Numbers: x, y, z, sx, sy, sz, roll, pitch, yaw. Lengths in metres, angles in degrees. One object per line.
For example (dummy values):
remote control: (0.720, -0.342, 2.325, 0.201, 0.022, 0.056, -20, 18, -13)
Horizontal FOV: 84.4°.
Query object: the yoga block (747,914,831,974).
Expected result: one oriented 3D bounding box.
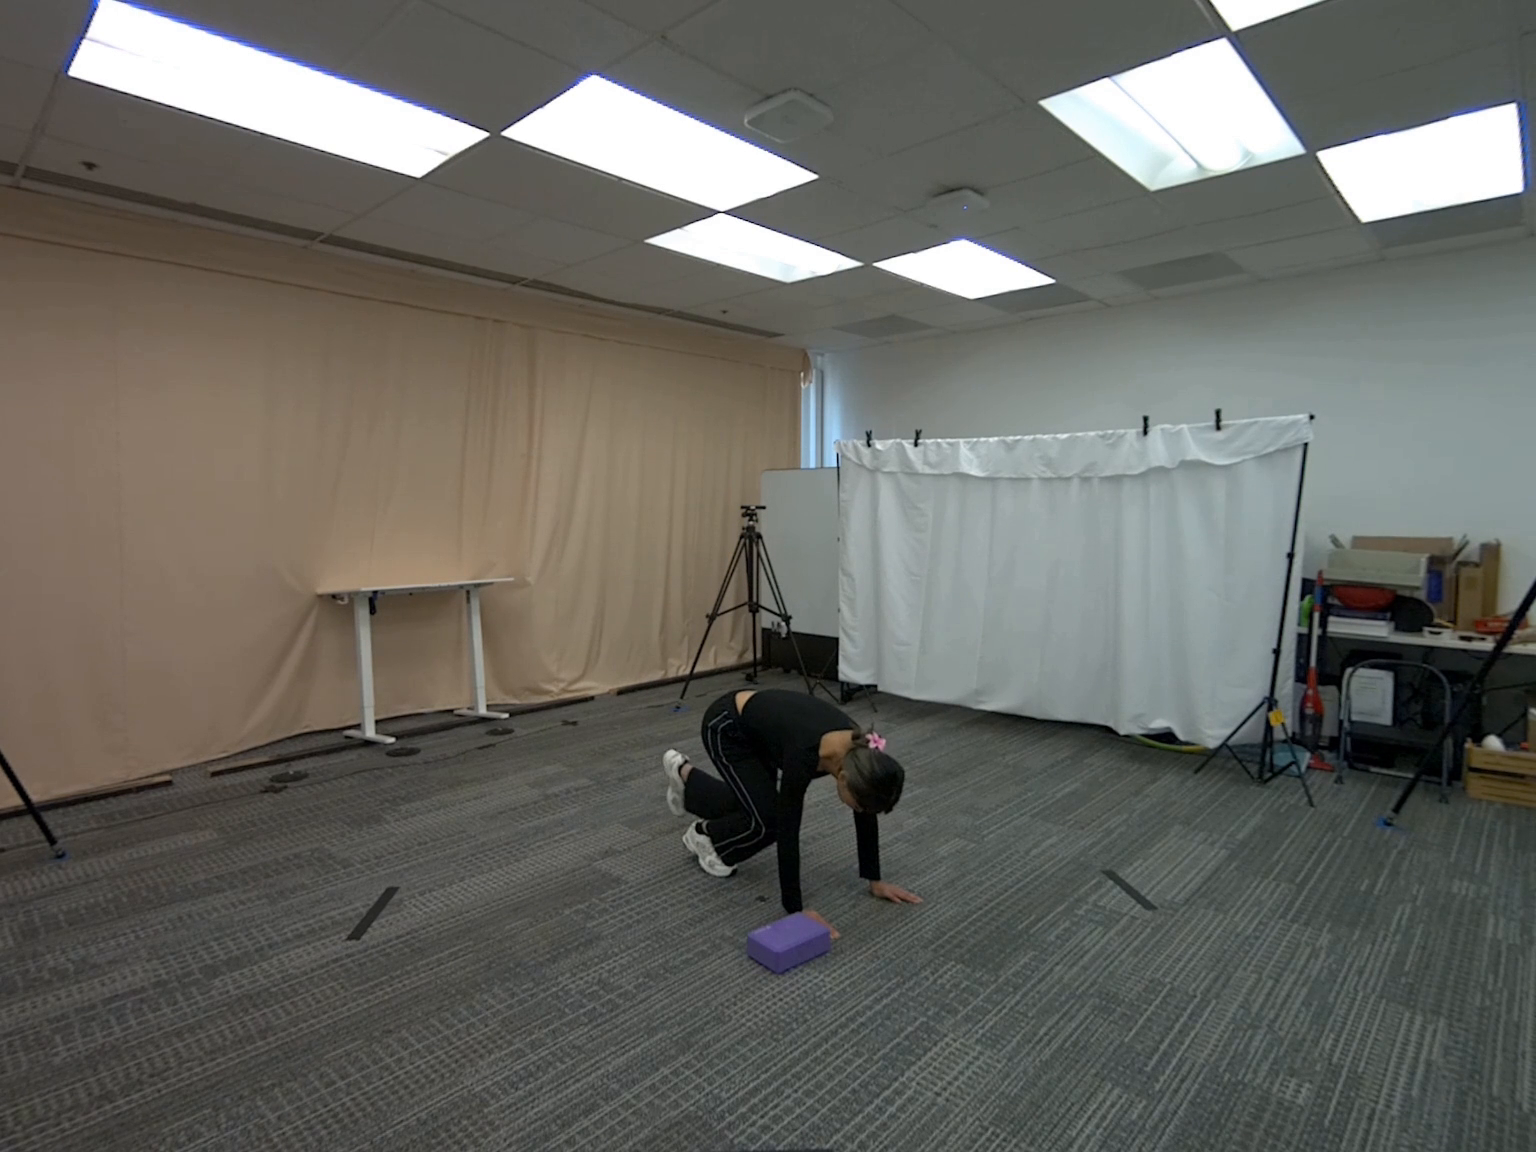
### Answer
yoga block: (0.067, 1.131, 2.615, 0.222, 0.076, 0.154, -5, 7, -40)
